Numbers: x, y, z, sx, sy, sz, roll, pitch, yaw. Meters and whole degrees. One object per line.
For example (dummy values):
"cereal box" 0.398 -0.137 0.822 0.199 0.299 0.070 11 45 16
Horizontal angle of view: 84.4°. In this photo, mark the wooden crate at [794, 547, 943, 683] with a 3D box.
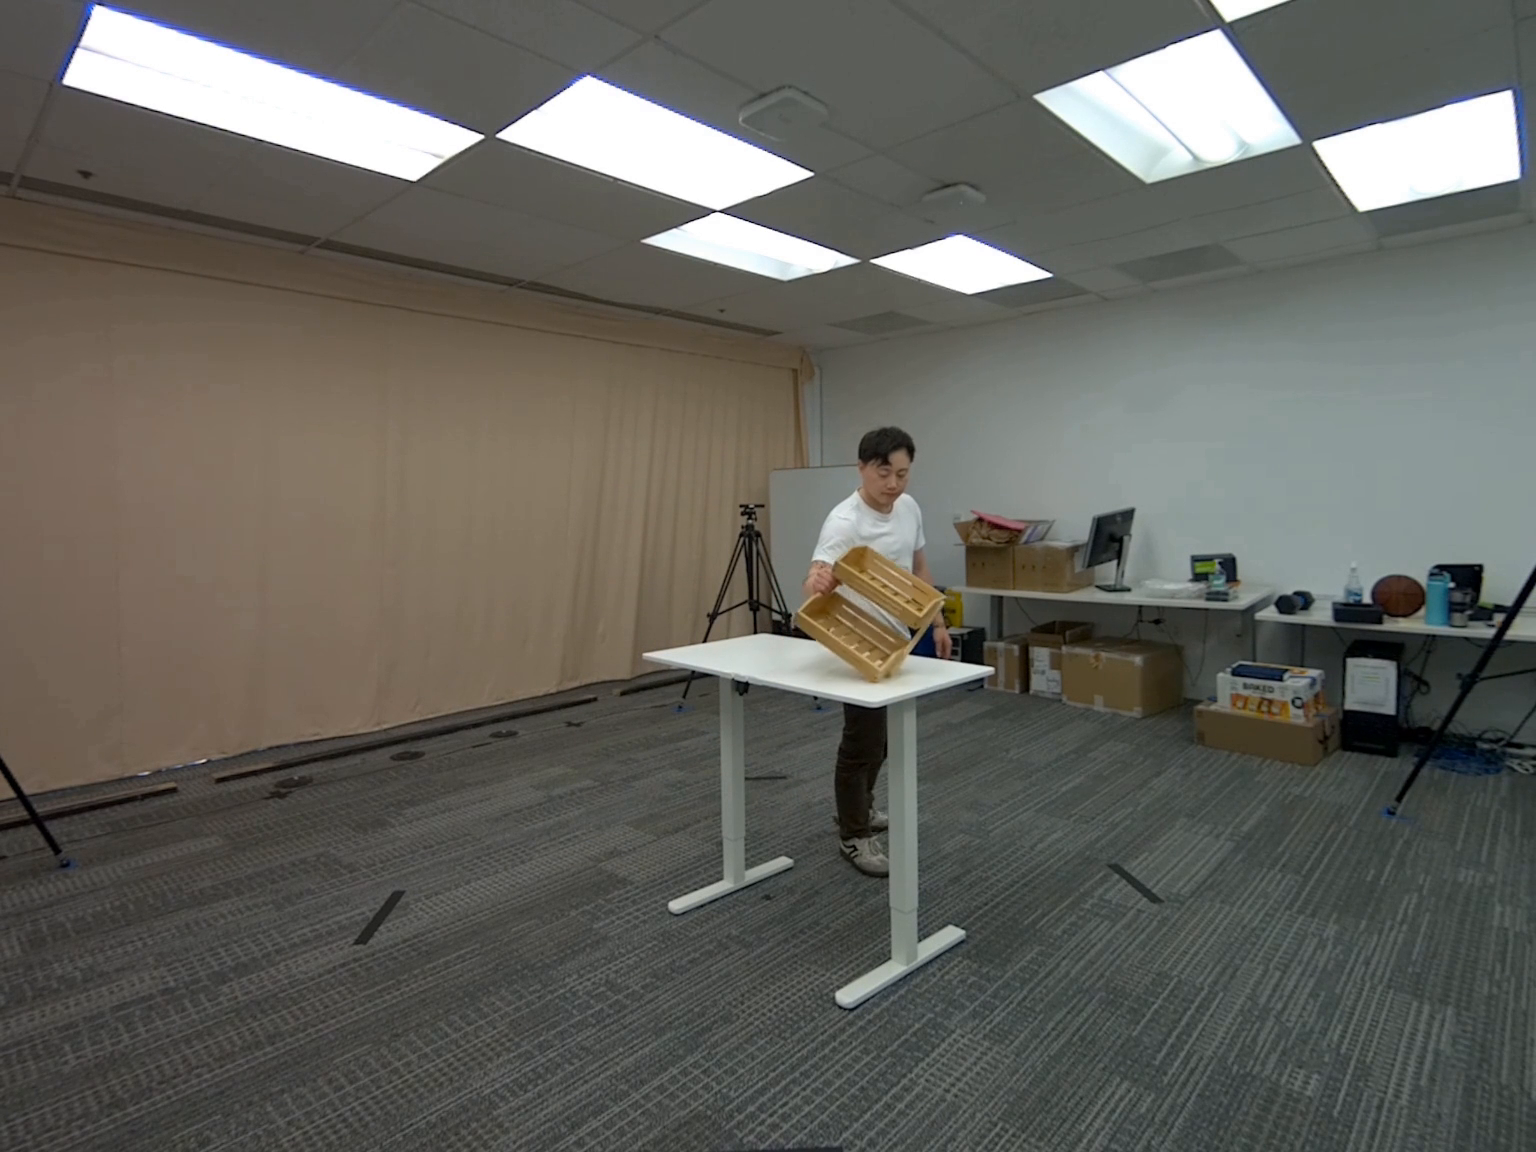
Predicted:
"wooden crate" 0.303 0.099 2.519 0.332 0.273 0.295 35 17 19
